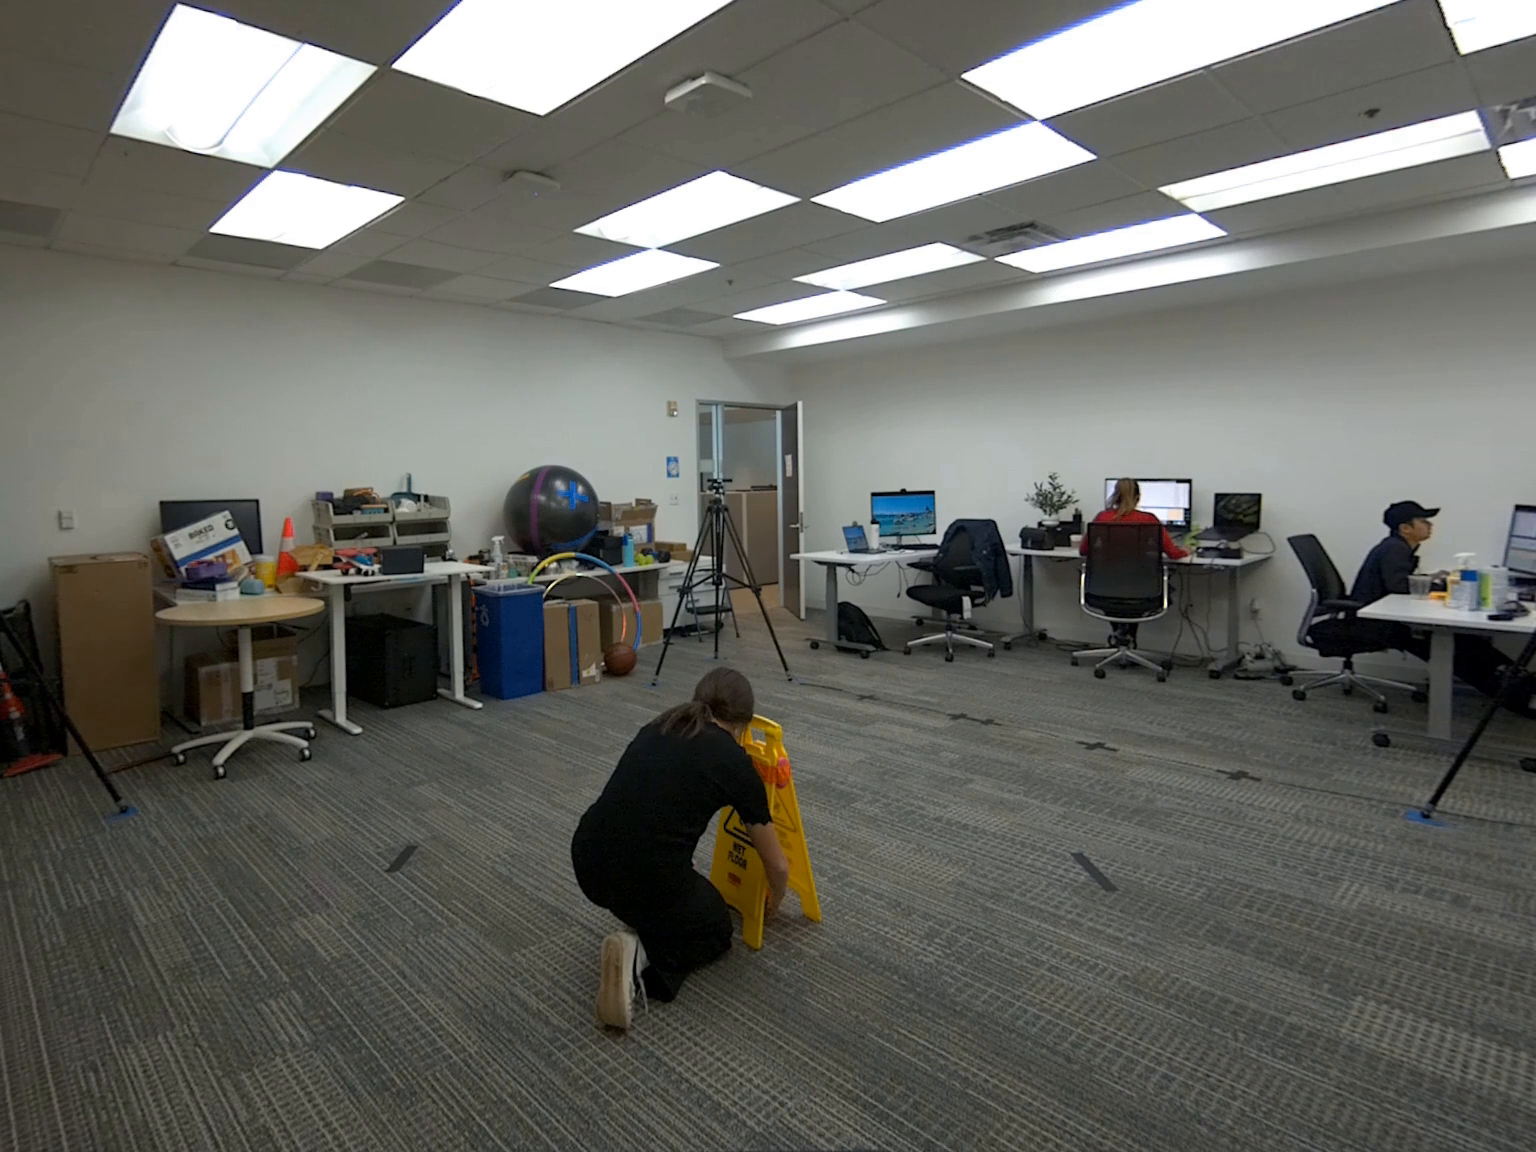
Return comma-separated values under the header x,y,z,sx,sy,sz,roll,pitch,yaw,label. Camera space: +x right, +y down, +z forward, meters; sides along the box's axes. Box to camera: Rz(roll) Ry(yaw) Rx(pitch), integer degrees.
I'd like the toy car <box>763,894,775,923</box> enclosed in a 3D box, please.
x,y,z,sx,sy,sz,roll,pitch,yaw,label
-0.096,1.052,2.779,0.260,0.083,0.127,-9,0,34,toy car
